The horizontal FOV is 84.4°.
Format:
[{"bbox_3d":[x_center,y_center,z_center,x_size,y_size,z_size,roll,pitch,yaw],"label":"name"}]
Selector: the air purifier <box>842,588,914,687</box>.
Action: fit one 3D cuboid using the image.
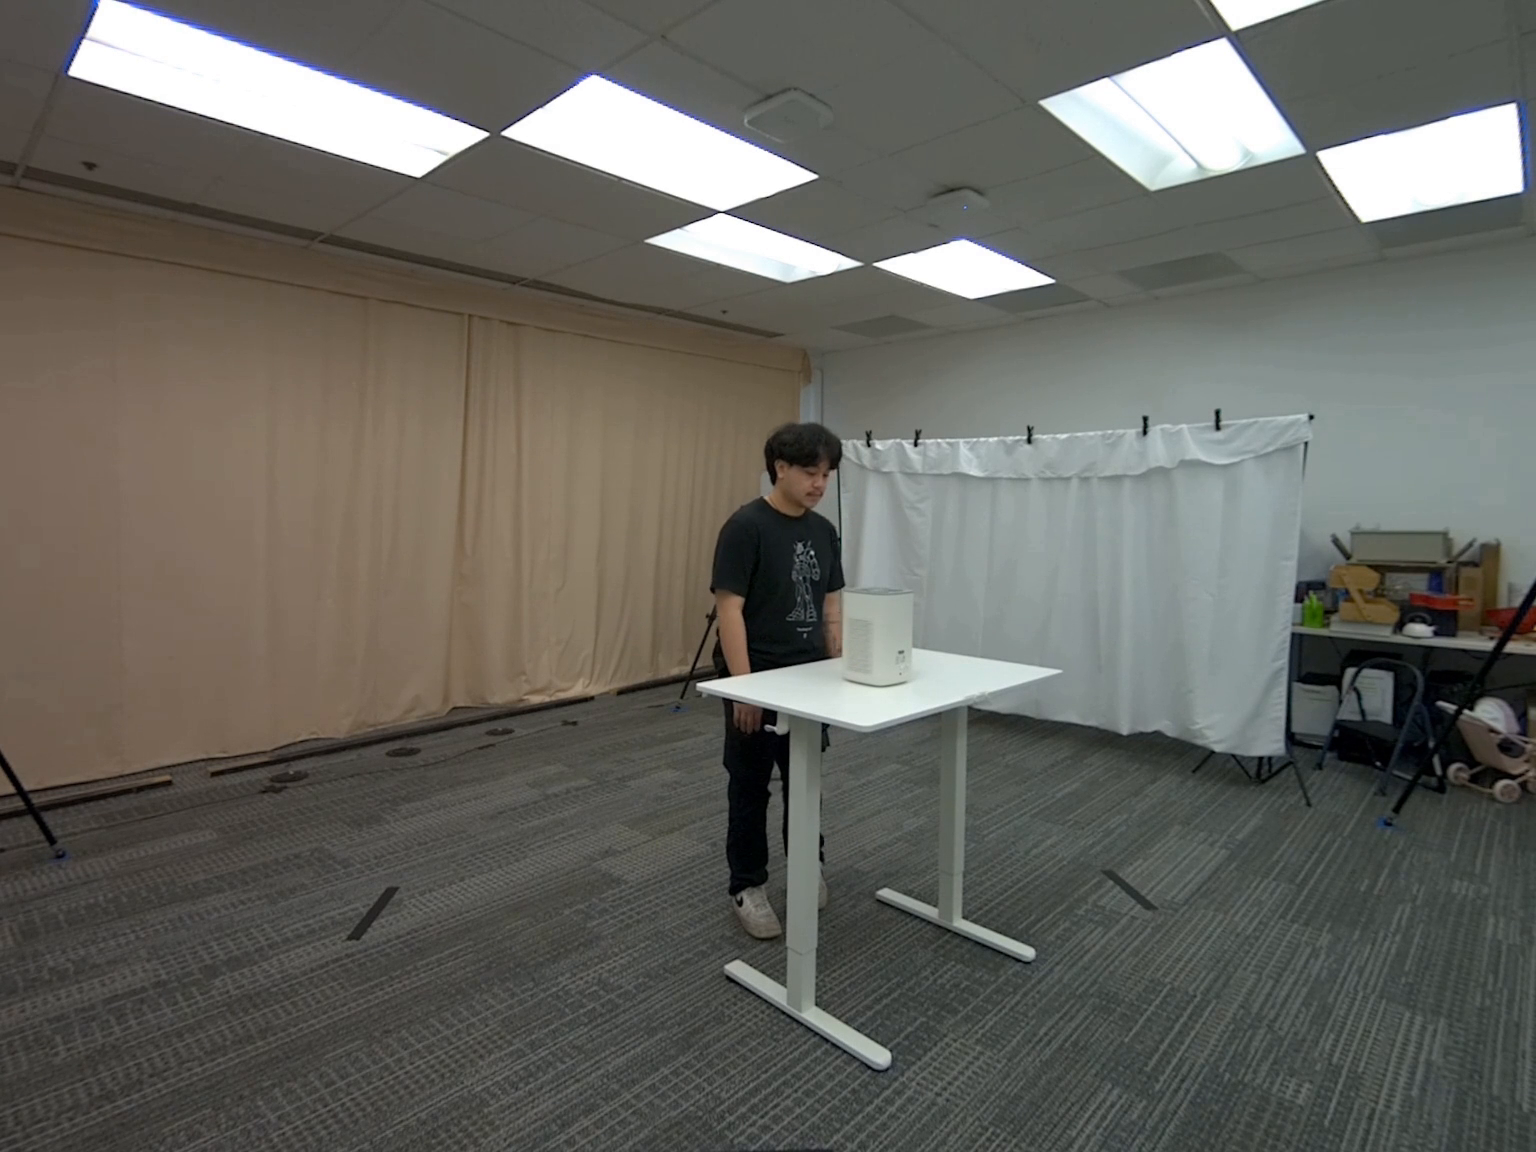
[{"bbox_3d":[0.322,0.178,2.424,0.166,0.265,0.177,-2,4,-43],"label":"air purifier"}]
